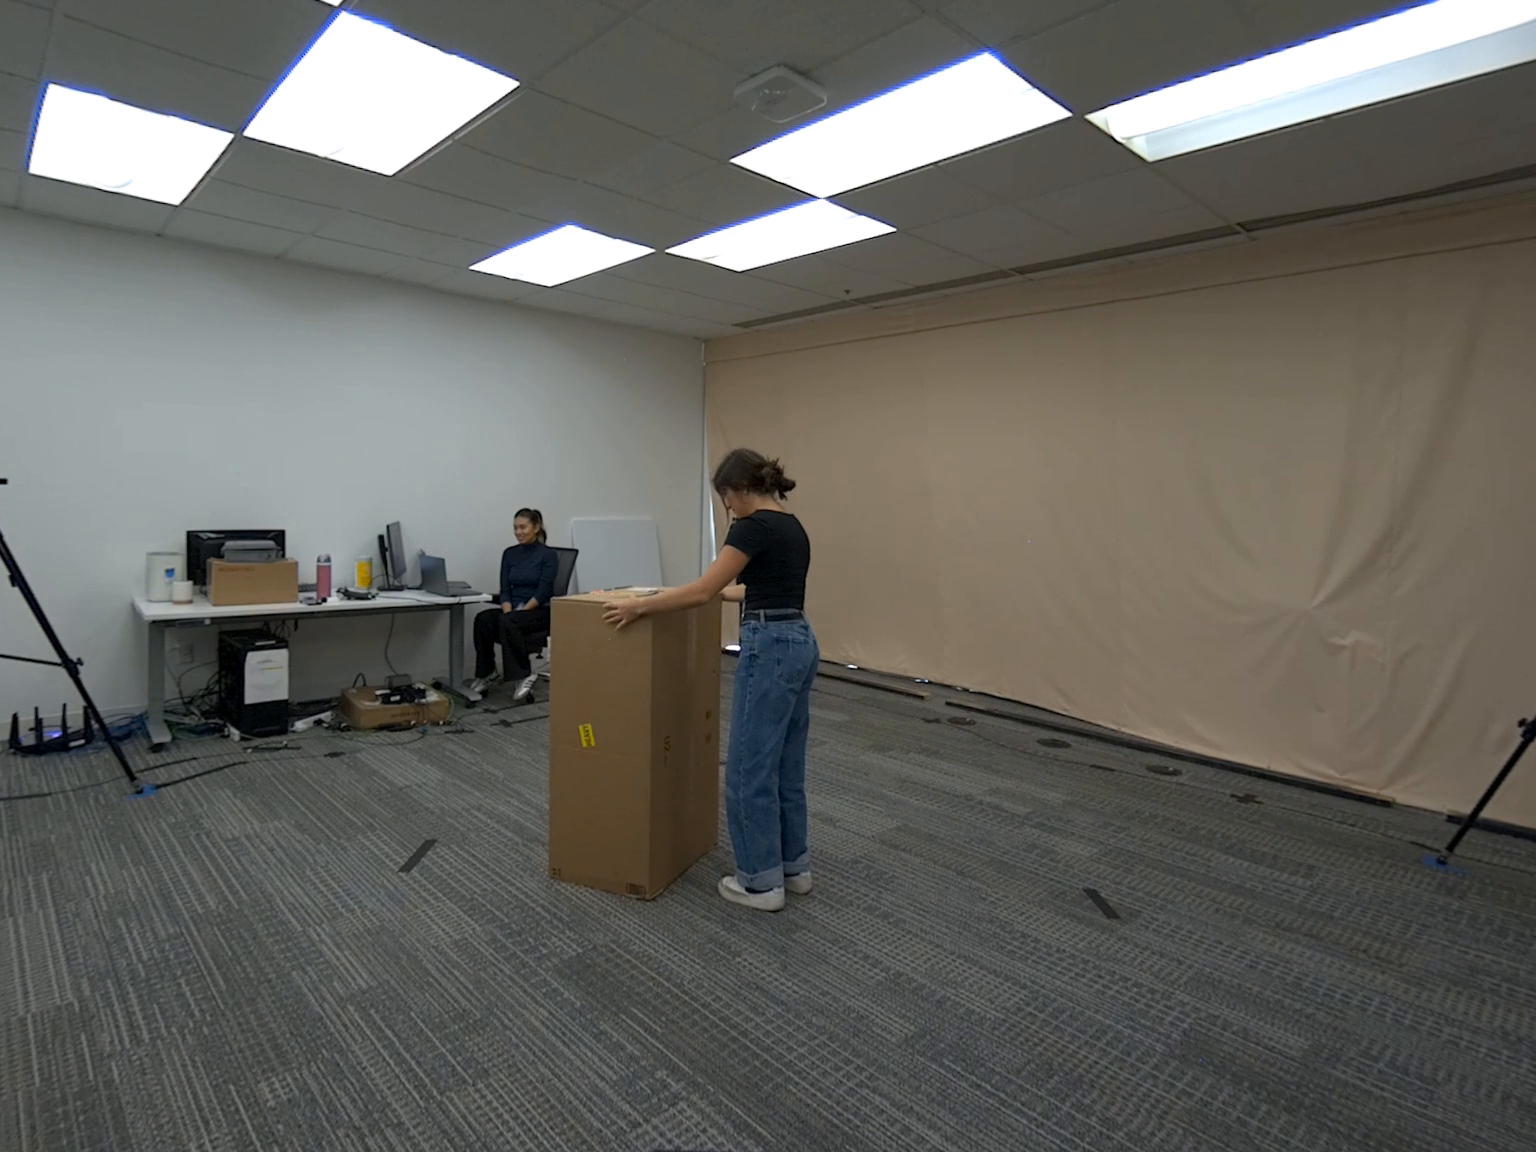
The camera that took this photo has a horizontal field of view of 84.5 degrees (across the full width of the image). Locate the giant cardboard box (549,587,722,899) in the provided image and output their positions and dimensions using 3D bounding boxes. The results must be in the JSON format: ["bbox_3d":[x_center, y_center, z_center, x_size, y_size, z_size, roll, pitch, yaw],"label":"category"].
[{"bbox_3d":[-0.497,0.581,3.214,0.434,1.024,0.568,2,3,23],"label":"giant cardboard box"}]
